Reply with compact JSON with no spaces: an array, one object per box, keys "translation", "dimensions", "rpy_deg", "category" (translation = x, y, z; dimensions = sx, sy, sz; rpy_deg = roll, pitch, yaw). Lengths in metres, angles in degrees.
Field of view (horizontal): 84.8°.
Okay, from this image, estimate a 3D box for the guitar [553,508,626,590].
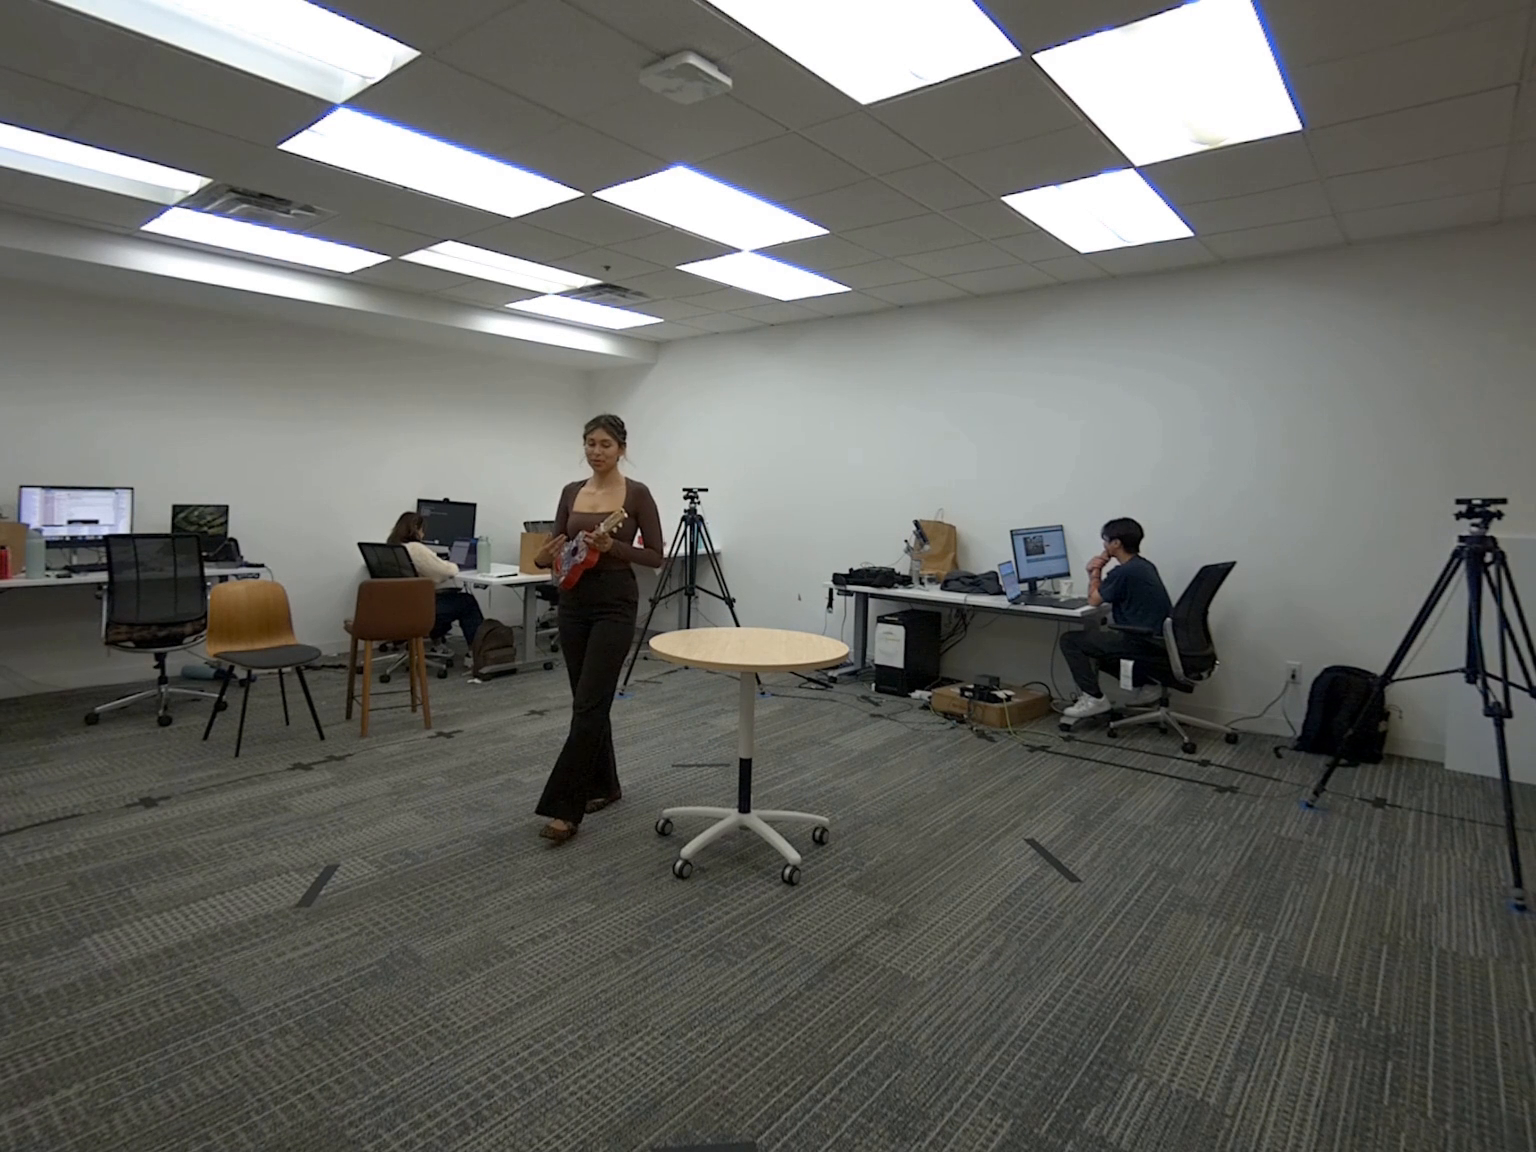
[{"translation":[-0.739,-0.108,3.427],"dimensions":[0.068,0.198,0.505],"rpy_deg":[23,-35,-39],"category":"guitar"}]
